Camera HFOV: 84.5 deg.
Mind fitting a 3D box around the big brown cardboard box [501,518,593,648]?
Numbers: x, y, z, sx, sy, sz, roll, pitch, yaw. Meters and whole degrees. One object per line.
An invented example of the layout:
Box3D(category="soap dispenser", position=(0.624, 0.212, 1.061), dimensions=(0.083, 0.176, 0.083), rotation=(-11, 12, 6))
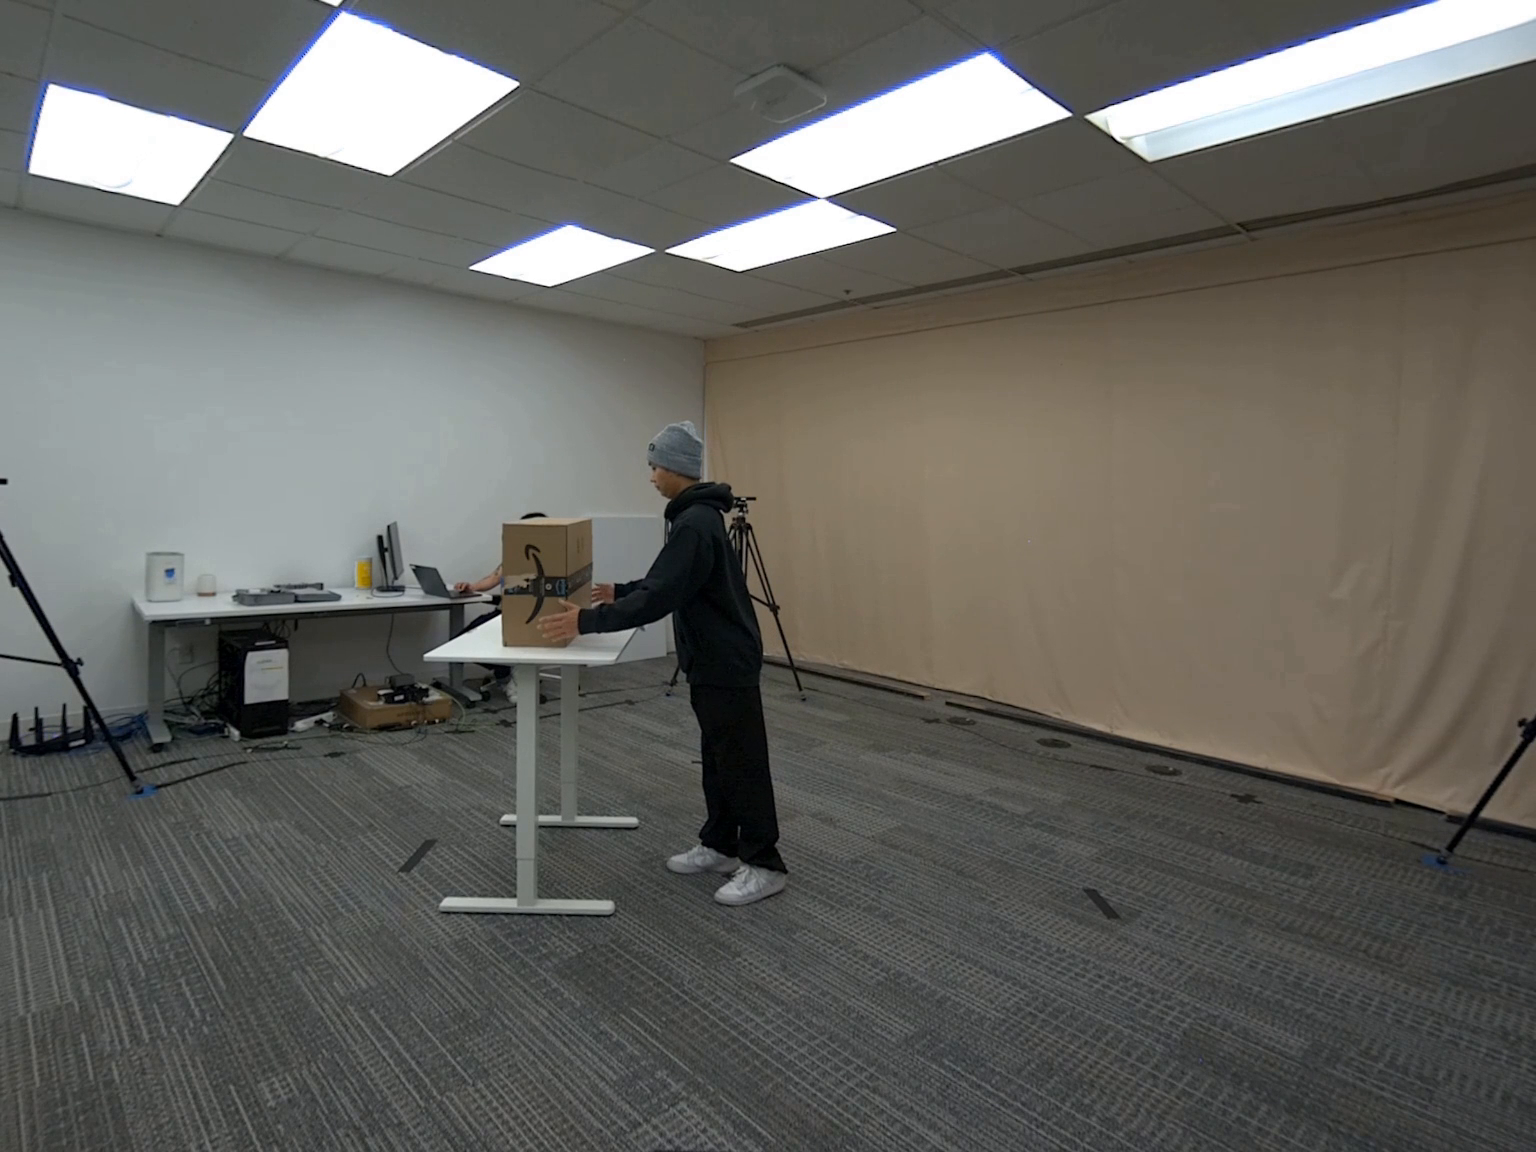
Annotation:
Box3D(category="big brown cardboard box", position=(-0.795, 0.004, 3.081), dimensions=(0.233, 0.416, 0.592), rotation=(1, 5, -3))
